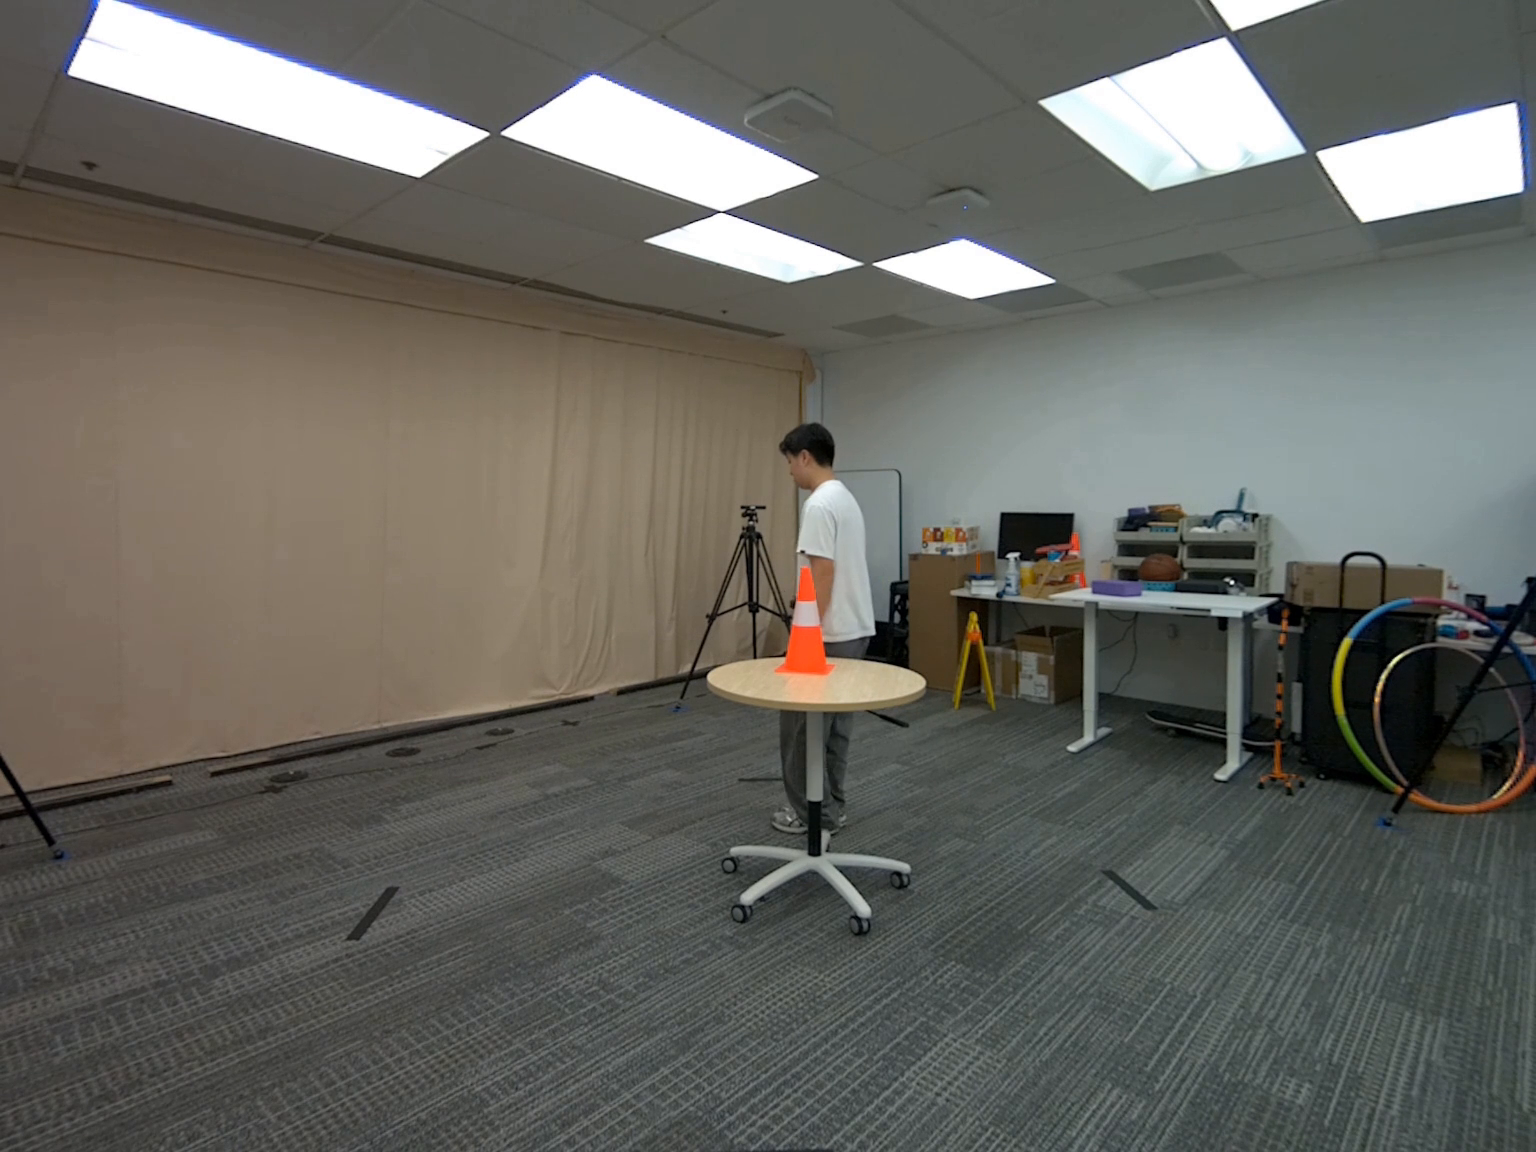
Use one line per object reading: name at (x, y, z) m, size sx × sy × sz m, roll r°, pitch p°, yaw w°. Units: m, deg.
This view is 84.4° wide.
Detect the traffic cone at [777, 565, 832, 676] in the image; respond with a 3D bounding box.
traffic cone at (0.143, 0.161, 3.130) m, size 0.209 × 0.383 × 0.200 m, roll -2°, pitch 2°, yaw 18°
